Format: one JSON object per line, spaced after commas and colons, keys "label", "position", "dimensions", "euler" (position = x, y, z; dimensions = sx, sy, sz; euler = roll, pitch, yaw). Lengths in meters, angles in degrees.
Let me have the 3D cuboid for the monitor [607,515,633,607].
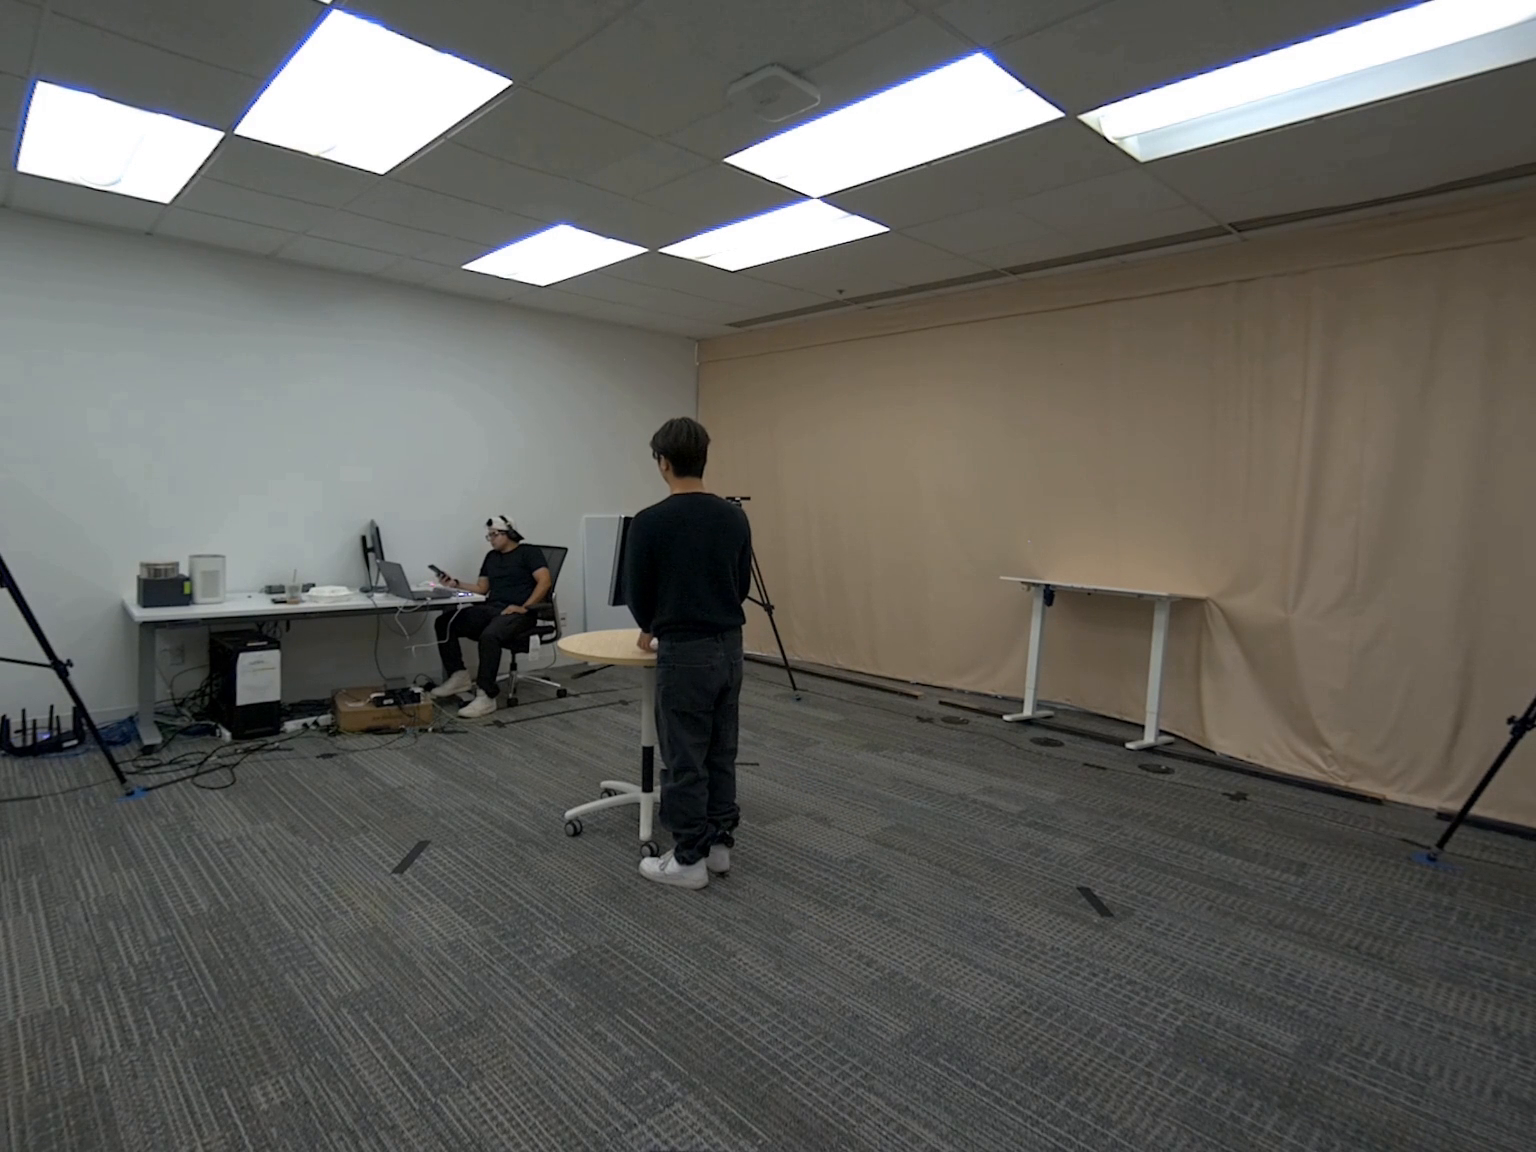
{"label": "monitor", "position": [-0.359, 0.027, 3.393], "dimensions": [0.192, 0.521, 0.527], "euler": [3, 5, 40]}
